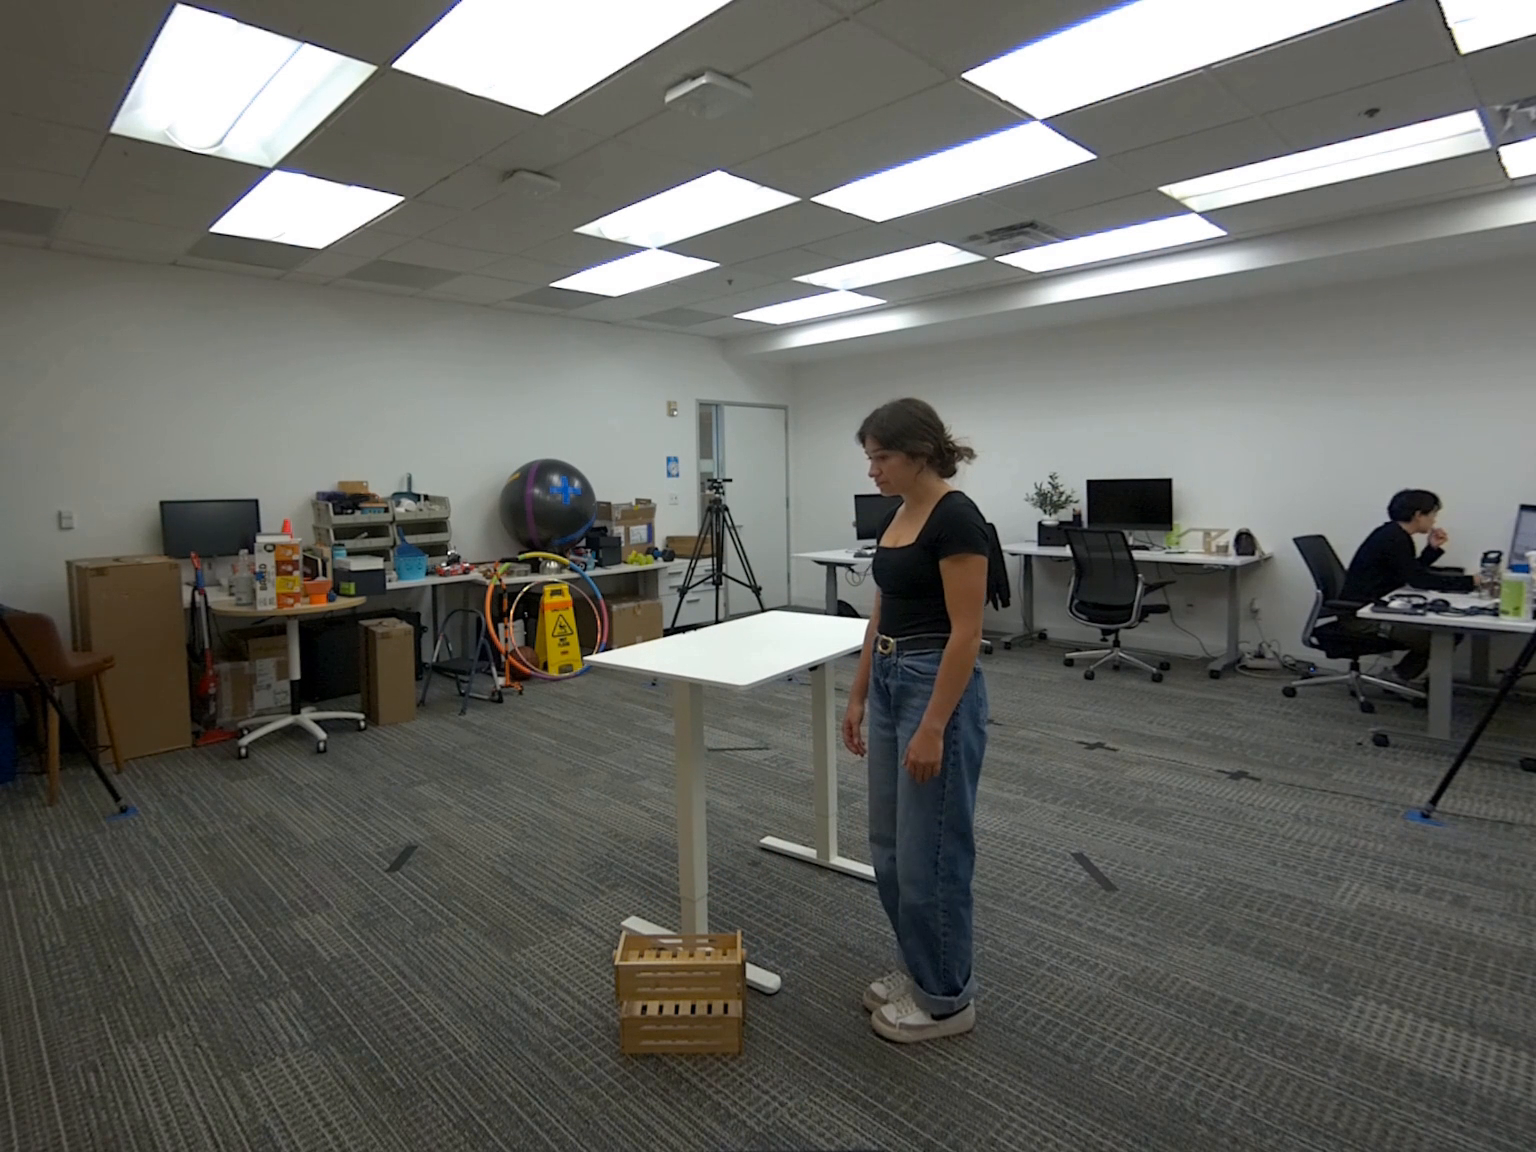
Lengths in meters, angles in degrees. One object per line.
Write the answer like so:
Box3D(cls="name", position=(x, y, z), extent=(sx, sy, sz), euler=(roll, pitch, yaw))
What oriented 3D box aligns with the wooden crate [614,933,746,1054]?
Box3D(cls="wooden crate", position=(-0.205, 1.016, 2.193), extent=(0.324, 0.272, 0.304), euler=(-1, 6, -1))
